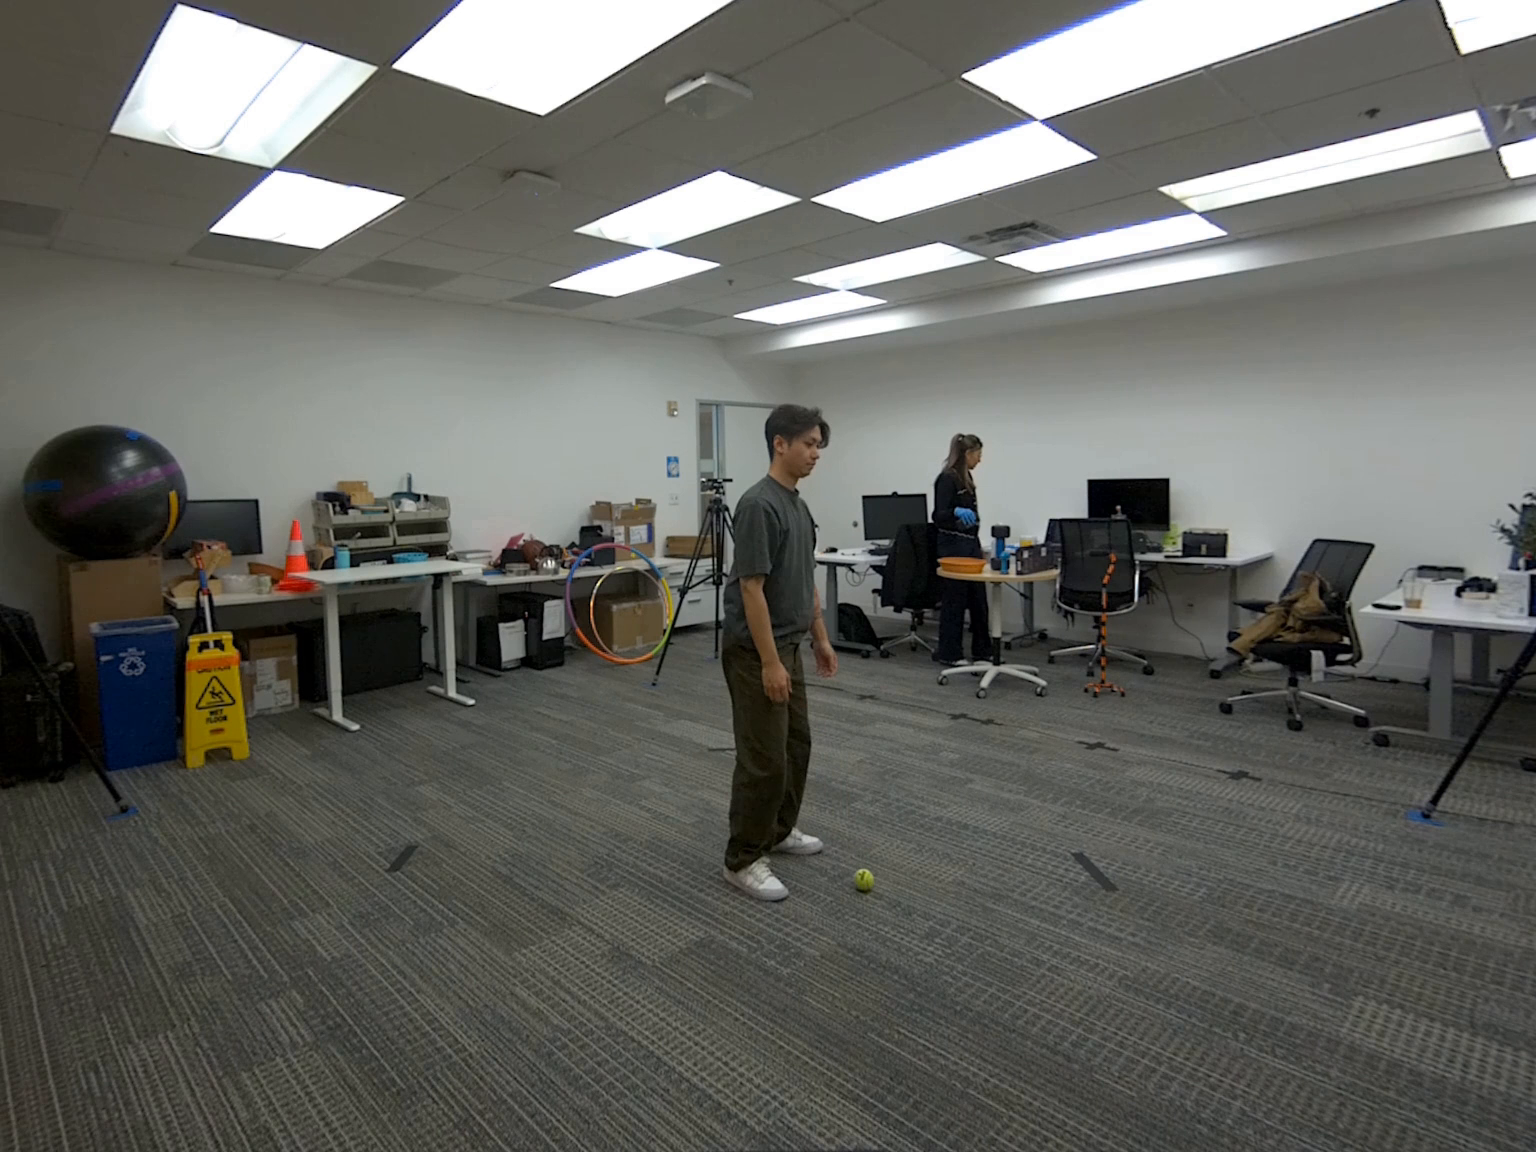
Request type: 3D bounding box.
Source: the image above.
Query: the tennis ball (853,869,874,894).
[{"bbox_3d":[0.330,1.015,2.888,0.066,0.066,0.067,-1,5,-2],"label":"tennis ball"}]
